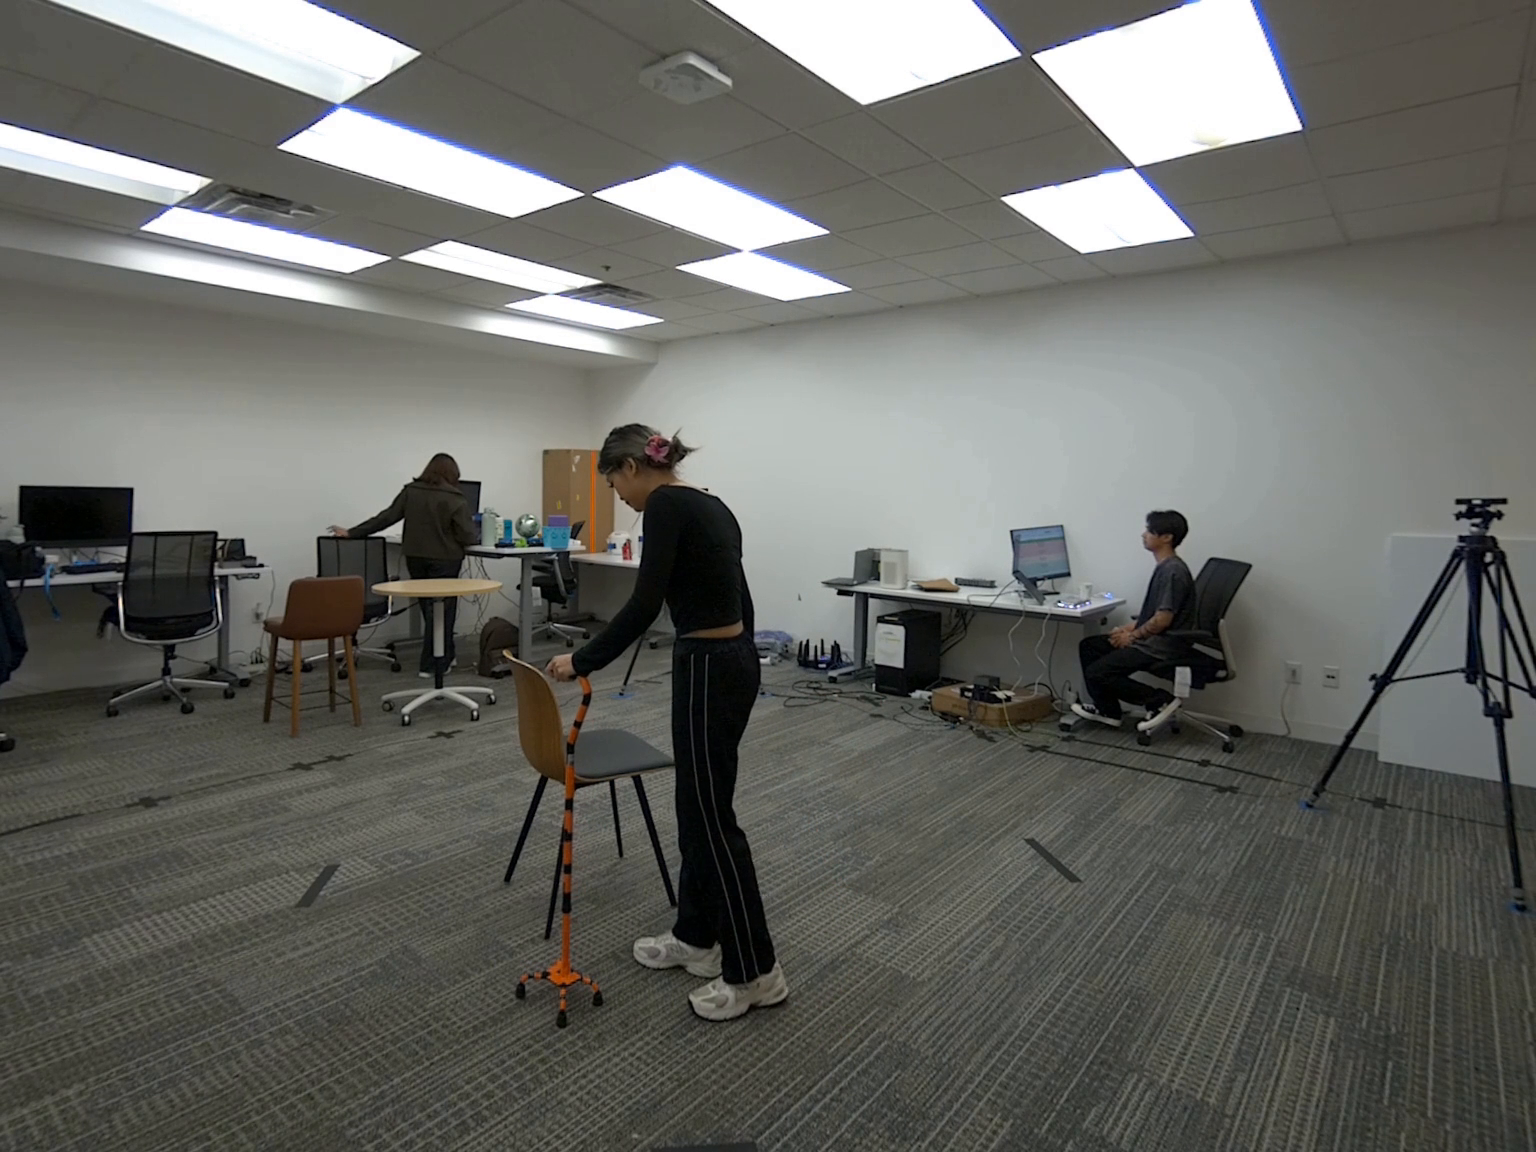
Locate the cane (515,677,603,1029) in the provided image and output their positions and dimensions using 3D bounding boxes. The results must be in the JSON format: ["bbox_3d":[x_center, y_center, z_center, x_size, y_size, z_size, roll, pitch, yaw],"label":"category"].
[{"bbox_3d":[-0.560,0.689,2.279,0.213,0.906,0.147,4,3,45],"label":"cane"}]
